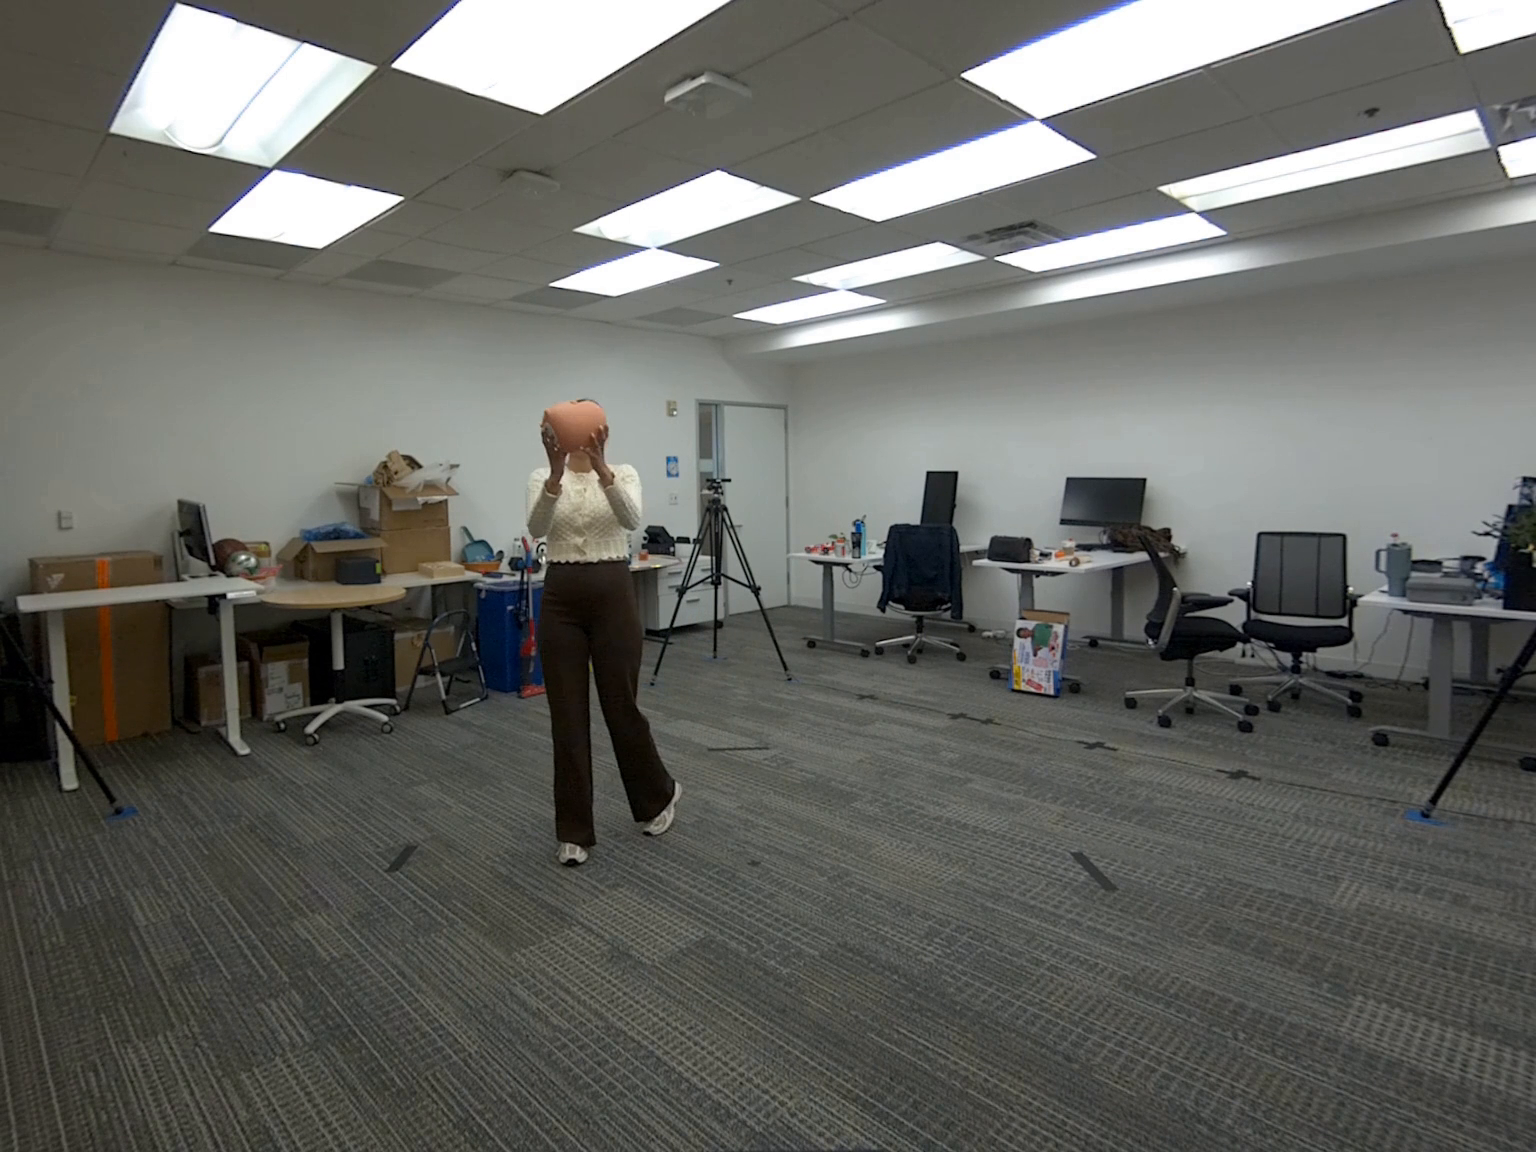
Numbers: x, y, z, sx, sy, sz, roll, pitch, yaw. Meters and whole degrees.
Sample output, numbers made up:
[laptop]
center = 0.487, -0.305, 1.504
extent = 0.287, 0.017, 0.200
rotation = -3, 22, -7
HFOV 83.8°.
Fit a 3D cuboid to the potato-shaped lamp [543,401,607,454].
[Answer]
[potato-shaped lamp]
center = -0.637, -0.500, 2.832
extent = 0.196, 0.173, 0.164
rotation = -29, -7, -24
